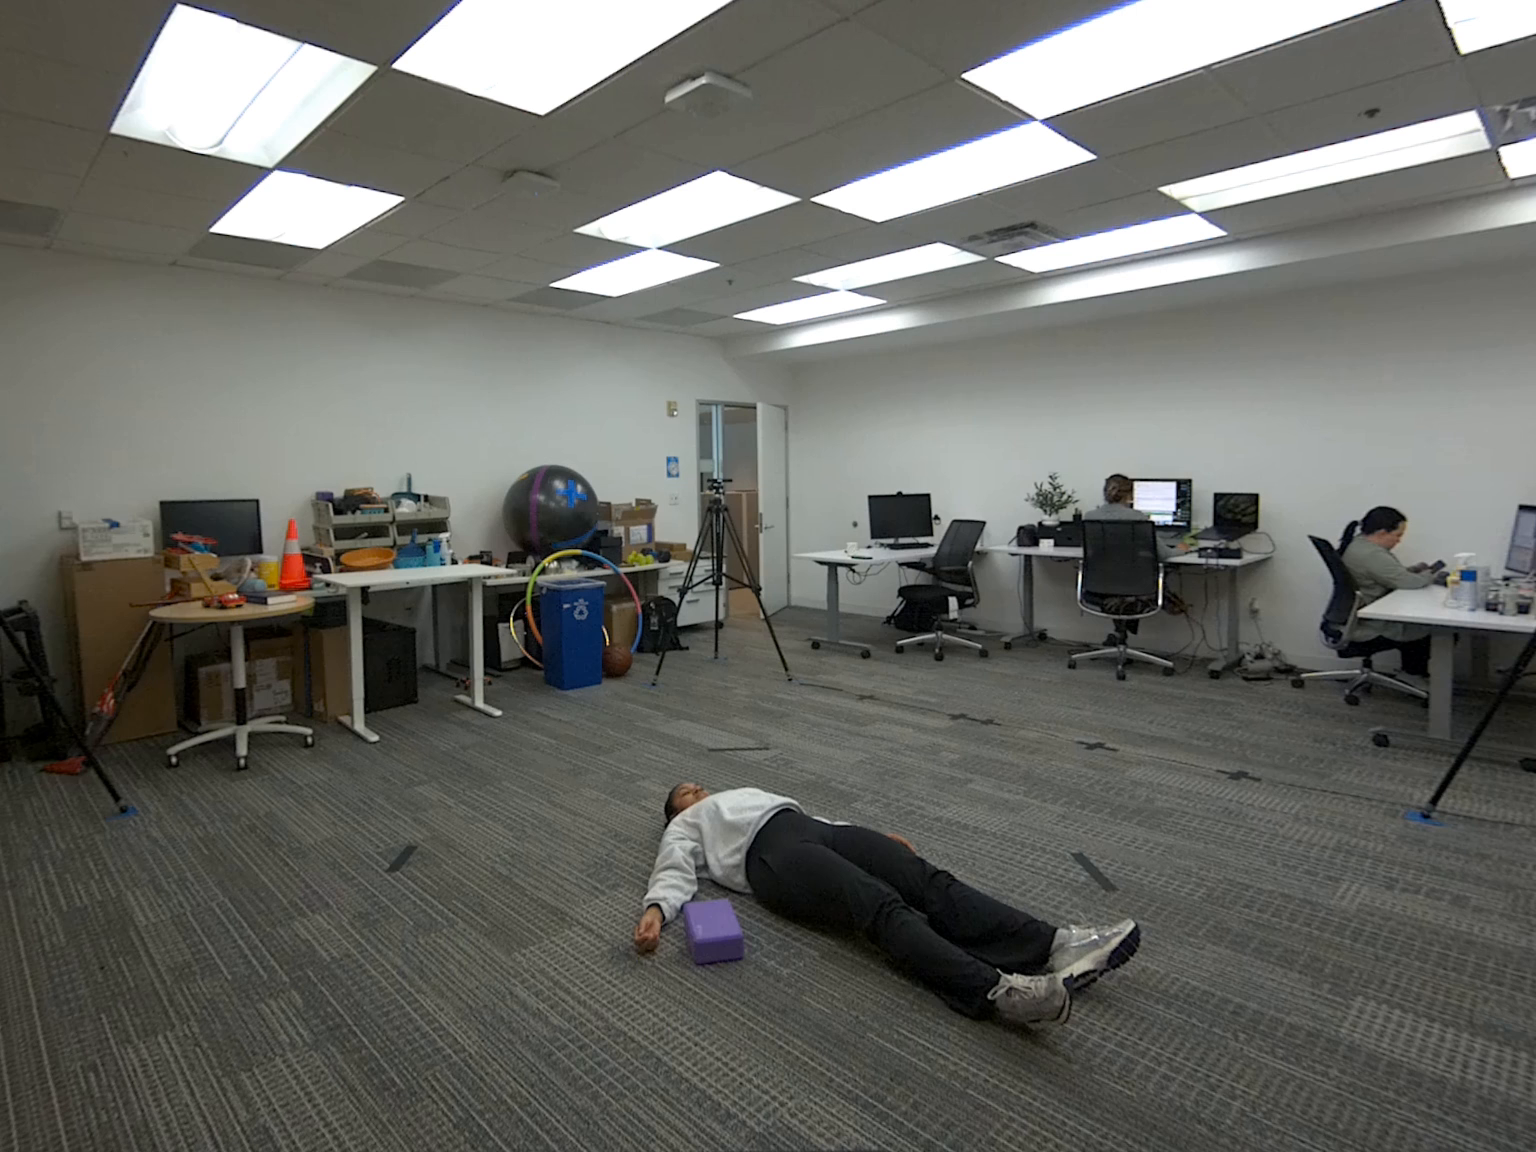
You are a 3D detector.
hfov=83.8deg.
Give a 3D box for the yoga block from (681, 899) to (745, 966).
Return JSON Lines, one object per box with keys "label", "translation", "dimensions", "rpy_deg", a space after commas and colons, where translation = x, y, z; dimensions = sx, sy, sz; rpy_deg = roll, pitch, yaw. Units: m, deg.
{"label": "yoga block", "translation": [-0.161, 1.072, 2.577], "dimensions": [0.147, 0.076, 0.233], "rpy_deg": [-2, 6, -13]}
